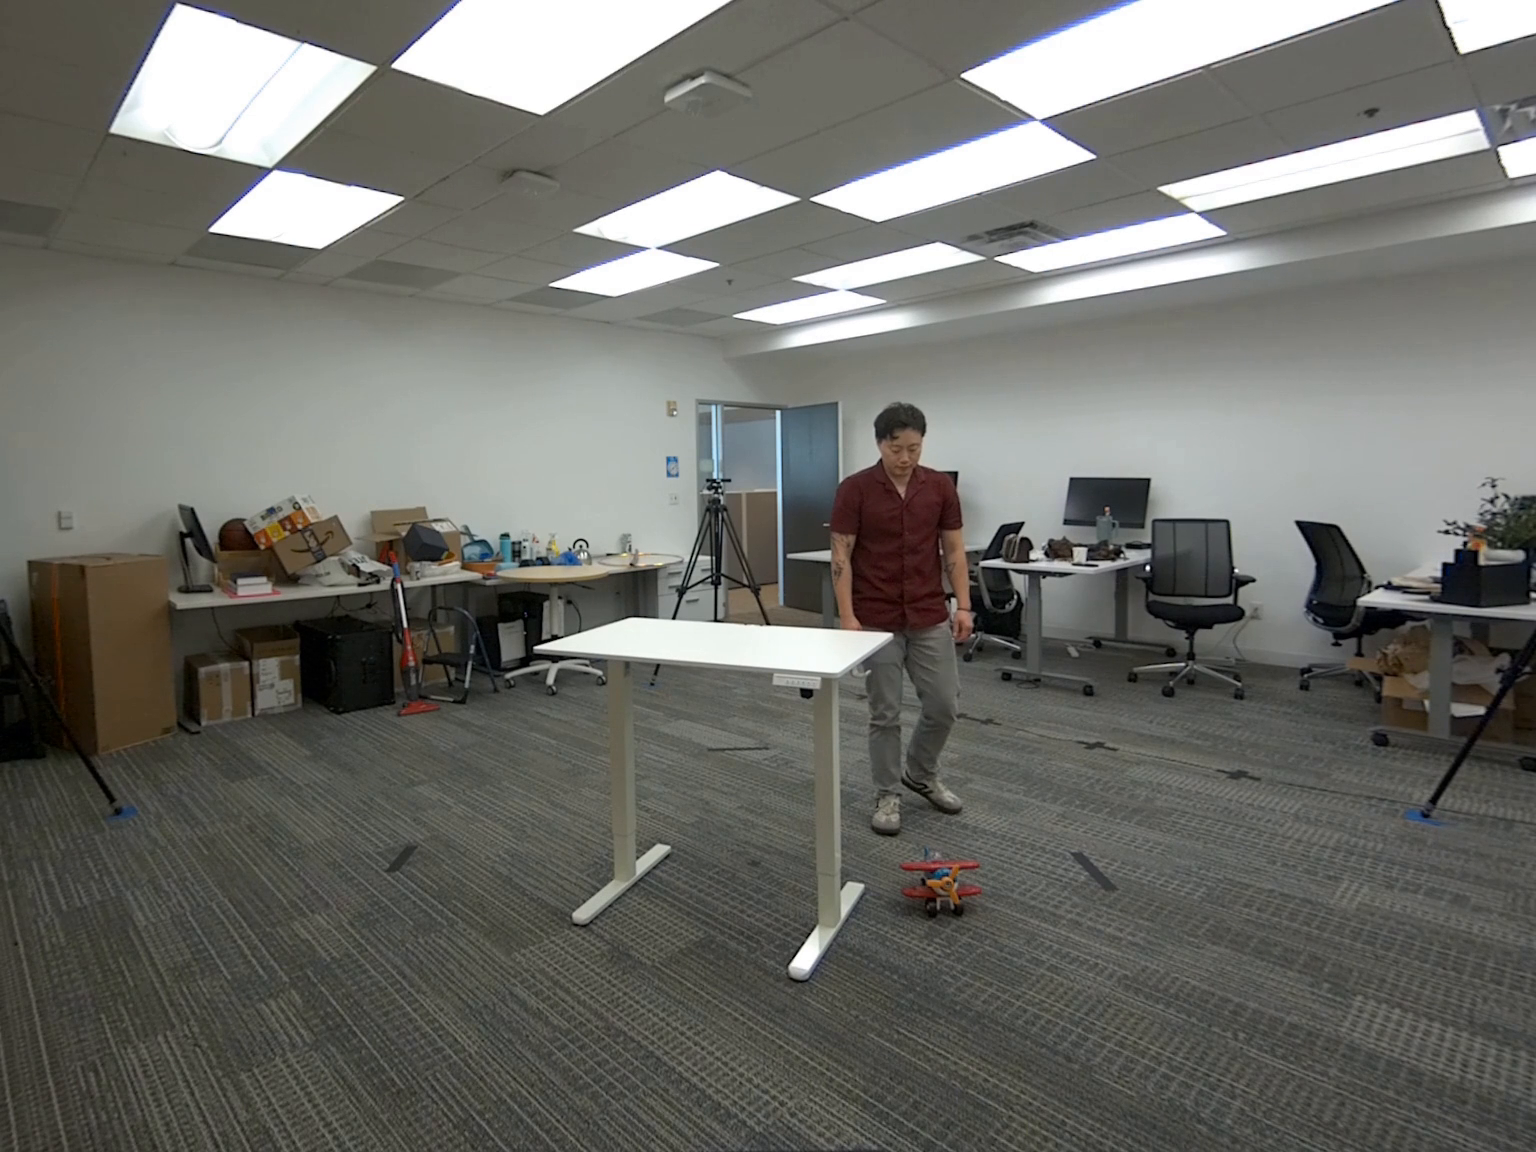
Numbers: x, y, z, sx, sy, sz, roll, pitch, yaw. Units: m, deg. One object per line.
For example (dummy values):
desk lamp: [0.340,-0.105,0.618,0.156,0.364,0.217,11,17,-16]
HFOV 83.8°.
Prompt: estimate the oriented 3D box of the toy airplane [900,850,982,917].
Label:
toy airplane: [0.545,0.999,2.790,0.245,0.155,0.266,-5,8,-30]
